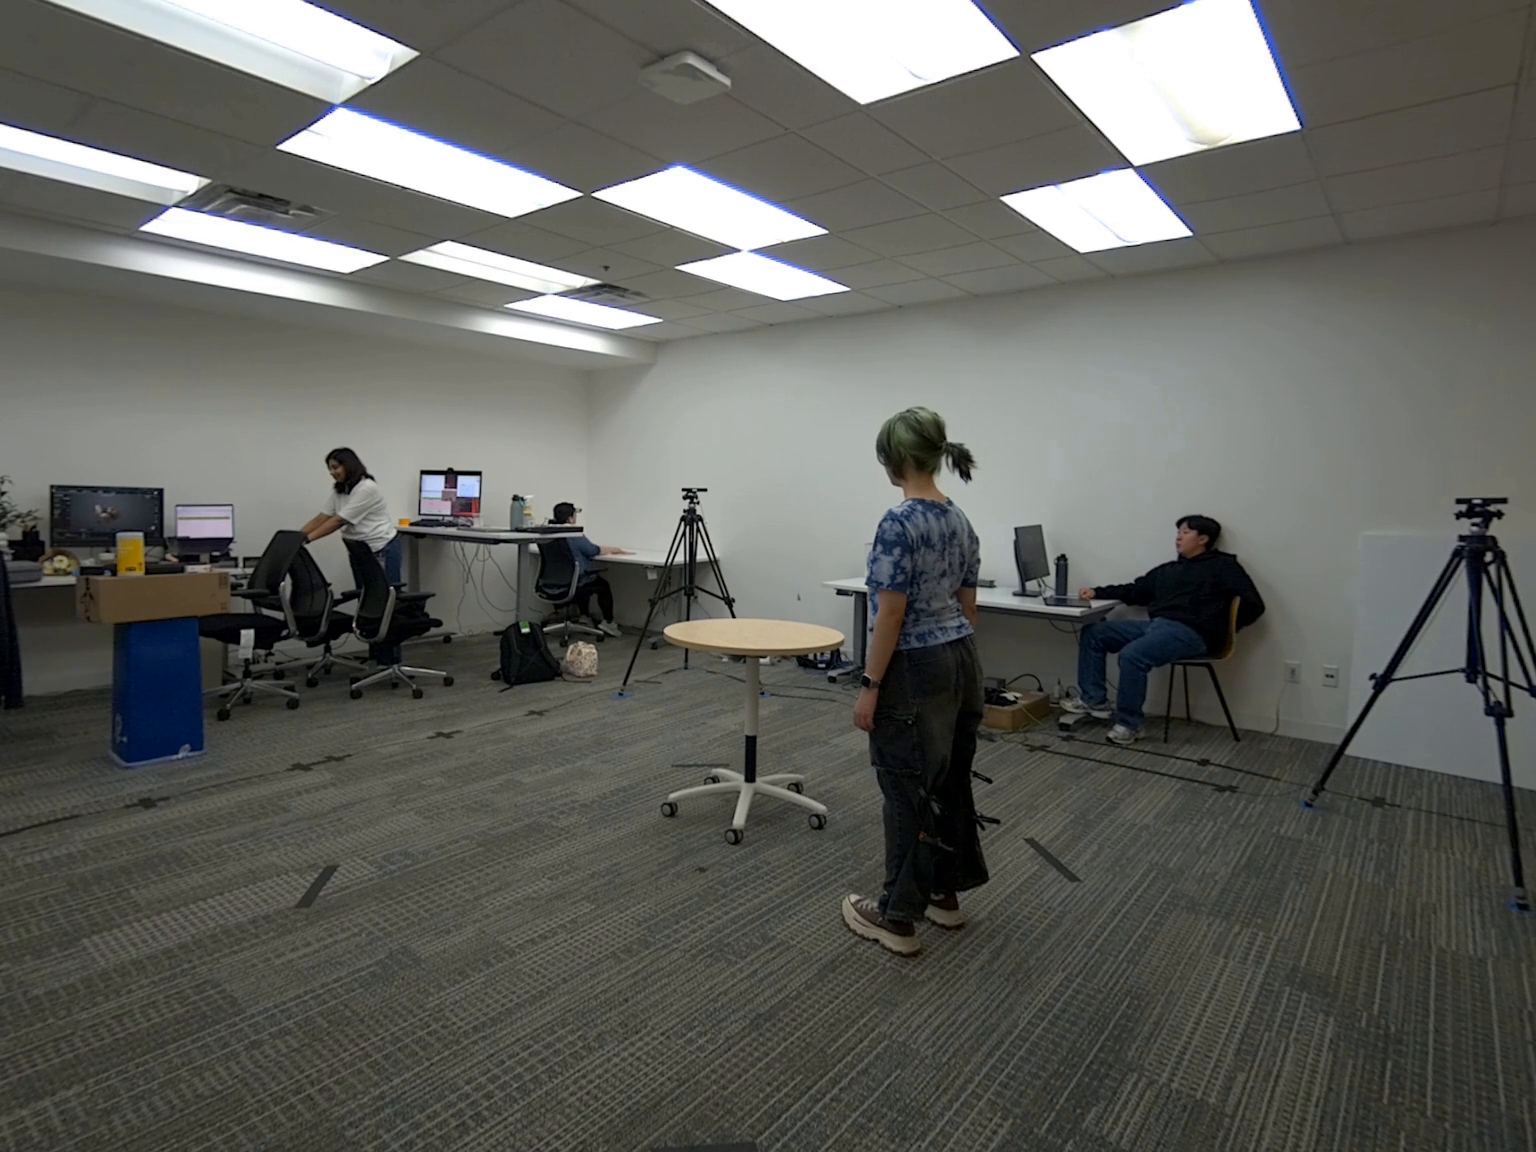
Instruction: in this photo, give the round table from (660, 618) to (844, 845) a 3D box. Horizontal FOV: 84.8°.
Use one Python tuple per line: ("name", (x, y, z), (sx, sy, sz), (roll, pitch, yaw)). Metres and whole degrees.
("round table", (-0.080, 0.632, 3.648), (0.763, 0.791, 0.768), (1, 4, -2))
